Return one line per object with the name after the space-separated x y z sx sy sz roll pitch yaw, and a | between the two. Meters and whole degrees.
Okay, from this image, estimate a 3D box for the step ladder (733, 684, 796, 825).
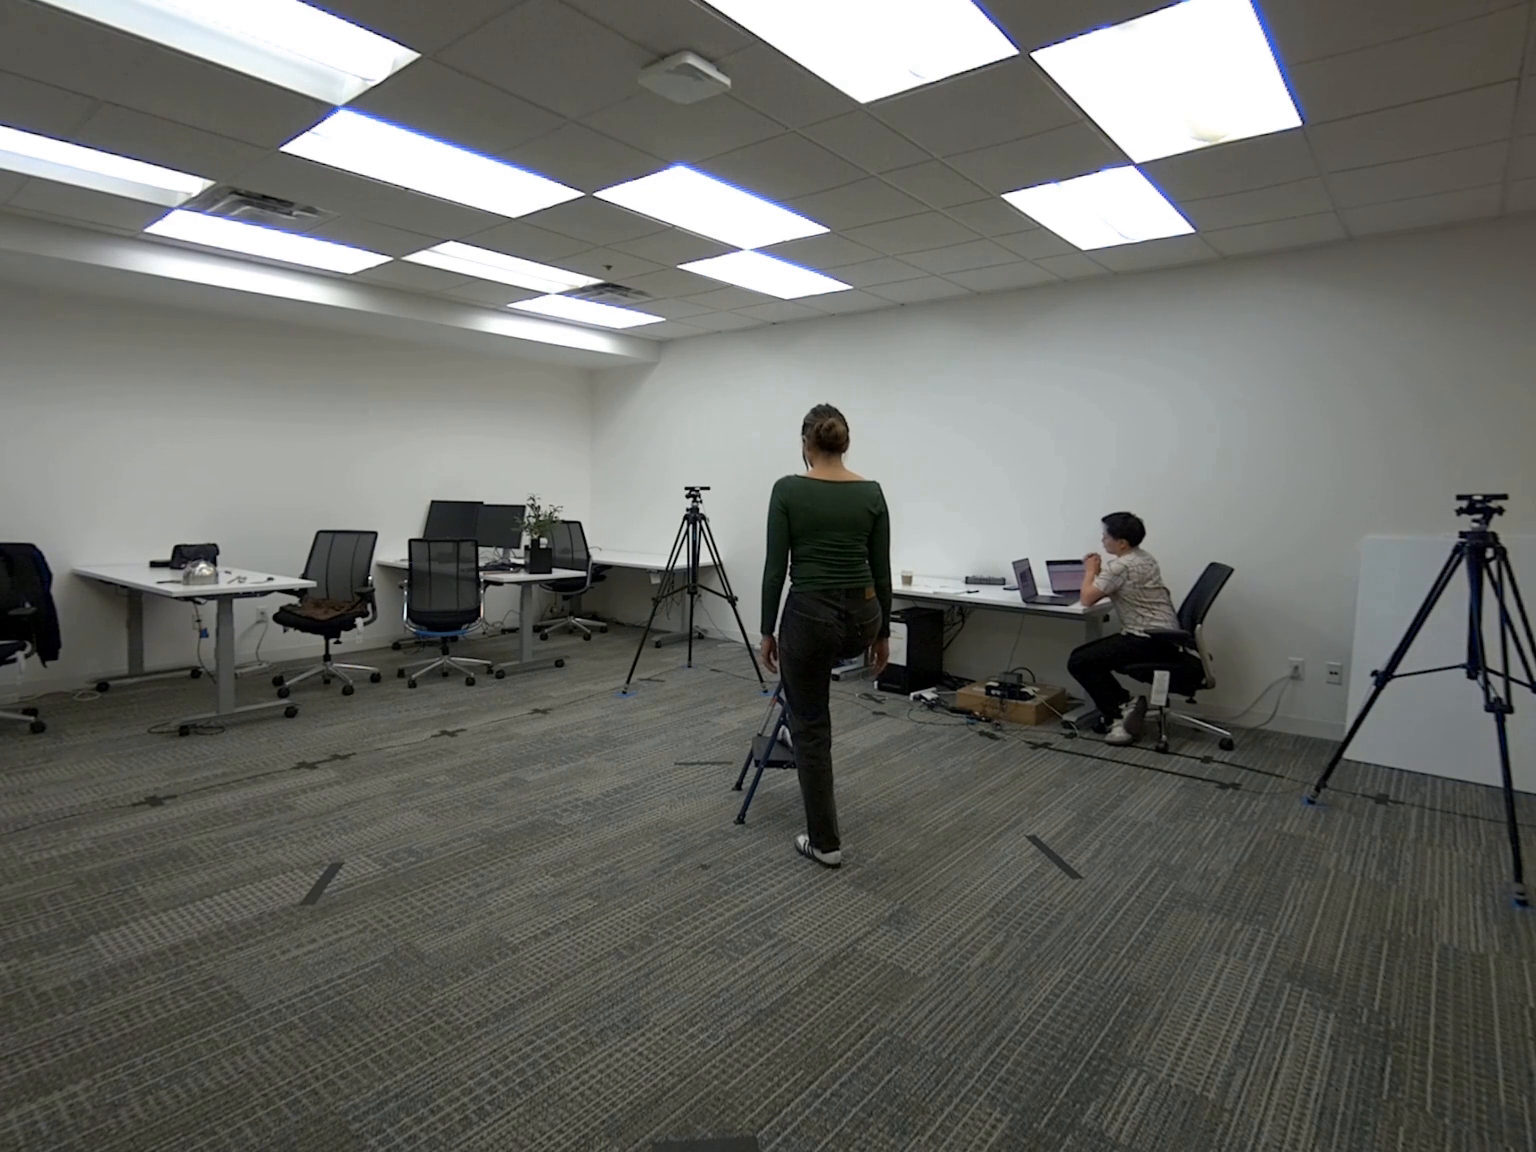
0.016 0.708 3.722 0.349 0.604 0.433 -1 4 -2 | step ladder
